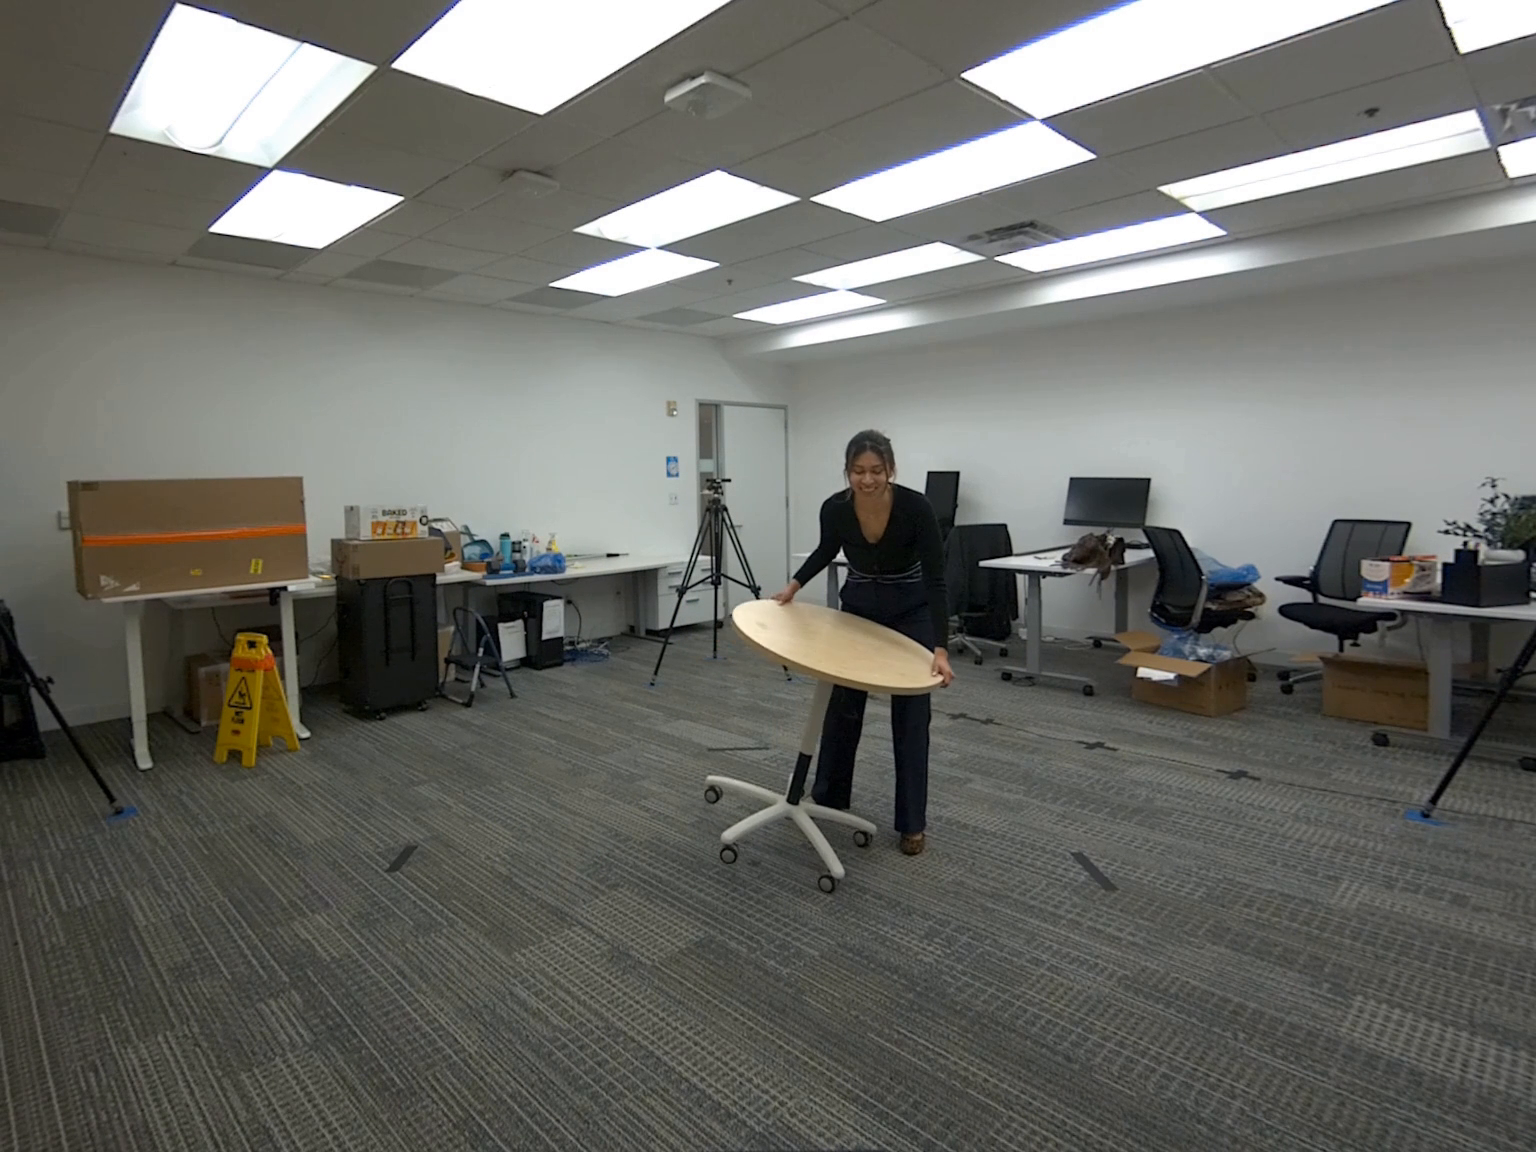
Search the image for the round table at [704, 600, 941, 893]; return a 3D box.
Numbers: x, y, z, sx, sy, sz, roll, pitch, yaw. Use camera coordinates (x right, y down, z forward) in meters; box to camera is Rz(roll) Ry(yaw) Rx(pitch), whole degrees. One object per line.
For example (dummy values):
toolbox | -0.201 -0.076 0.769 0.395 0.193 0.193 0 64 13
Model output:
round table | 0.145 0.594 3.102 0.761 0.788 0.773 13 12 -5
